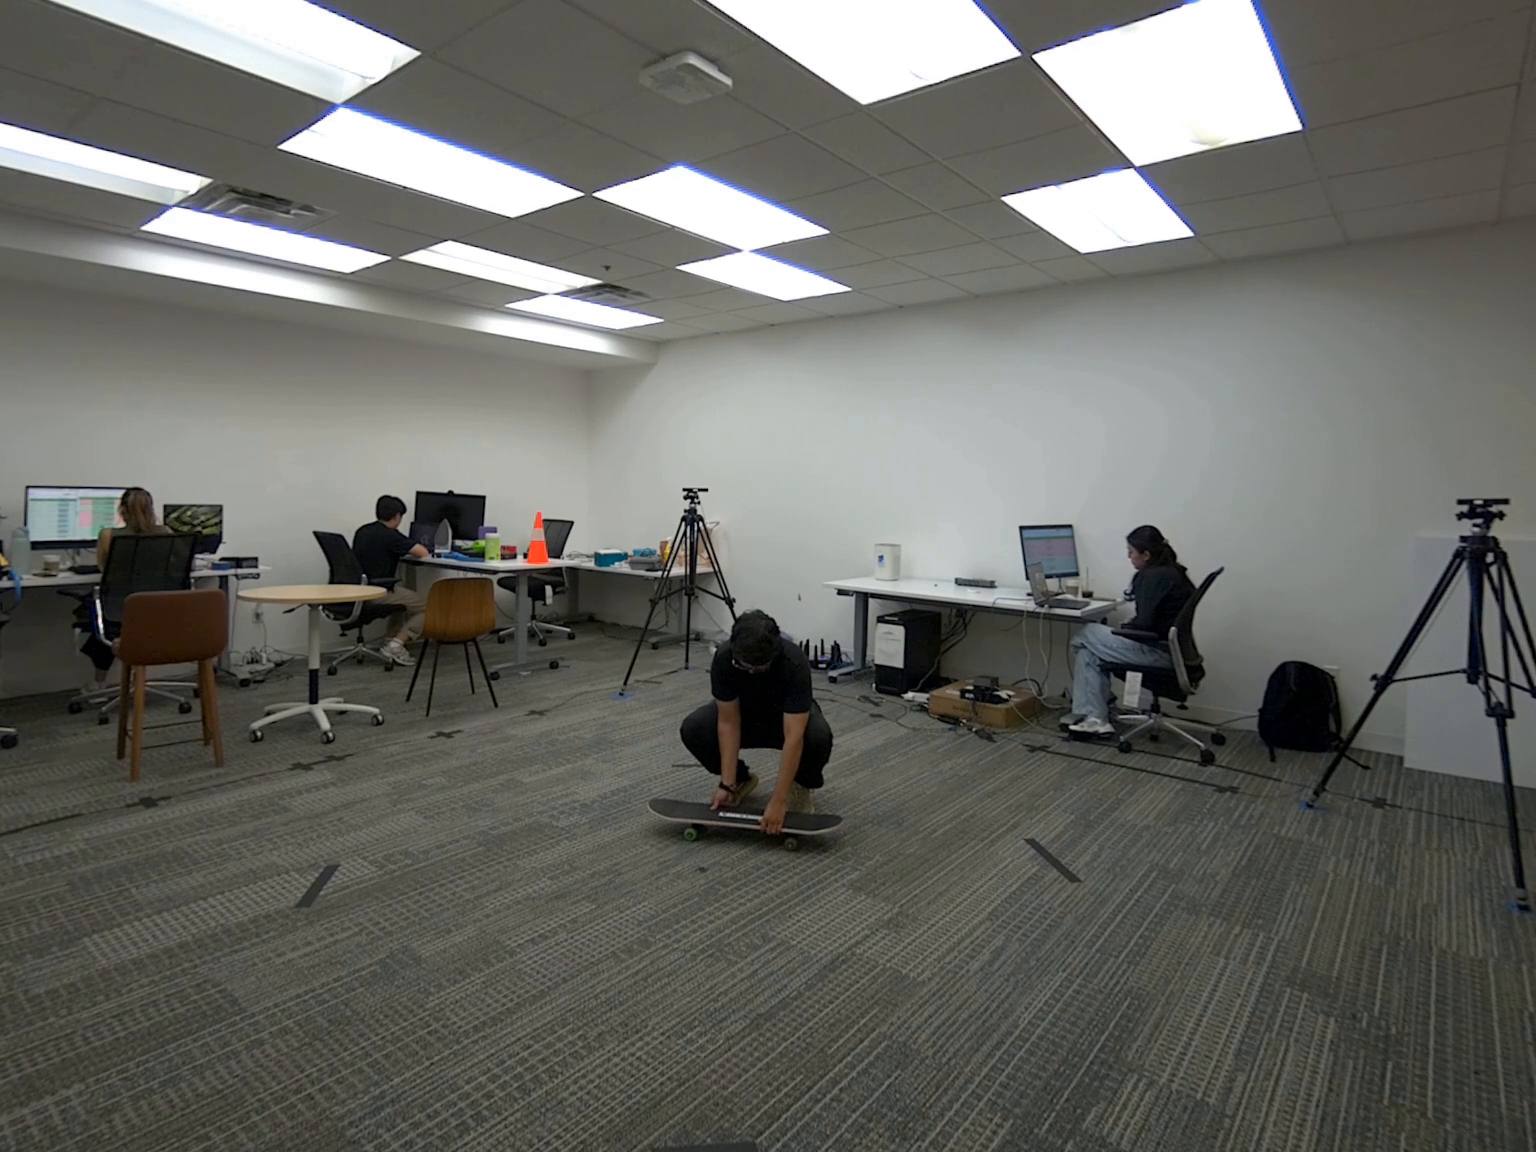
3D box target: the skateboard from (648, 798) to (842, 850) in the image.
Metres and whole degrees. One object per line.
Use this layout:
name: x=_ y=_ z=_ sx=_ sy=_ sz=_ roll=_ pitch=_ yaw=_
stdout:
skateboard: x=-0.109 y=0.986 z=3.394 sx=0.794 sy=0.110 sz=0.192 roll=2 pitch=5 yaw=9
